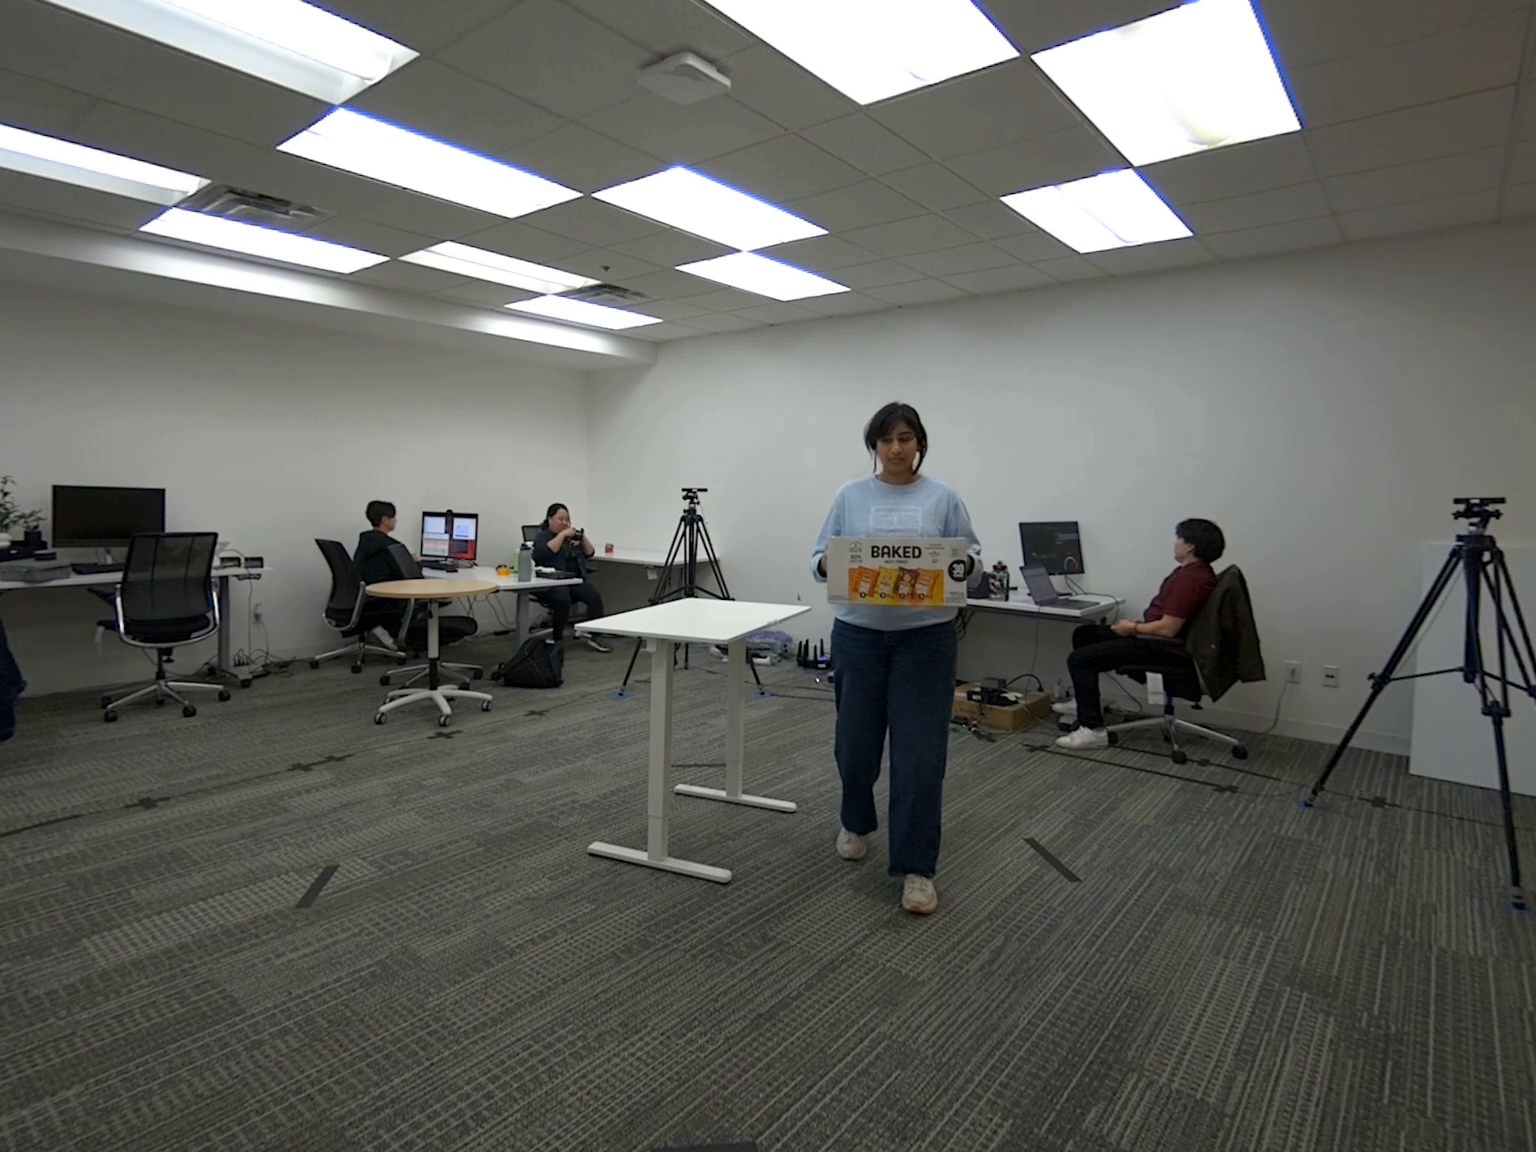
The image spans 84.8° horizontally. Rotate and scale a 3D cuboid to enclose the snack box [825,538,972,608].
[{"bbox_3d":[0.394,-0.018,2.678,0.409,0.206,0.336,1,-1,9],"label":"snack box"}]
